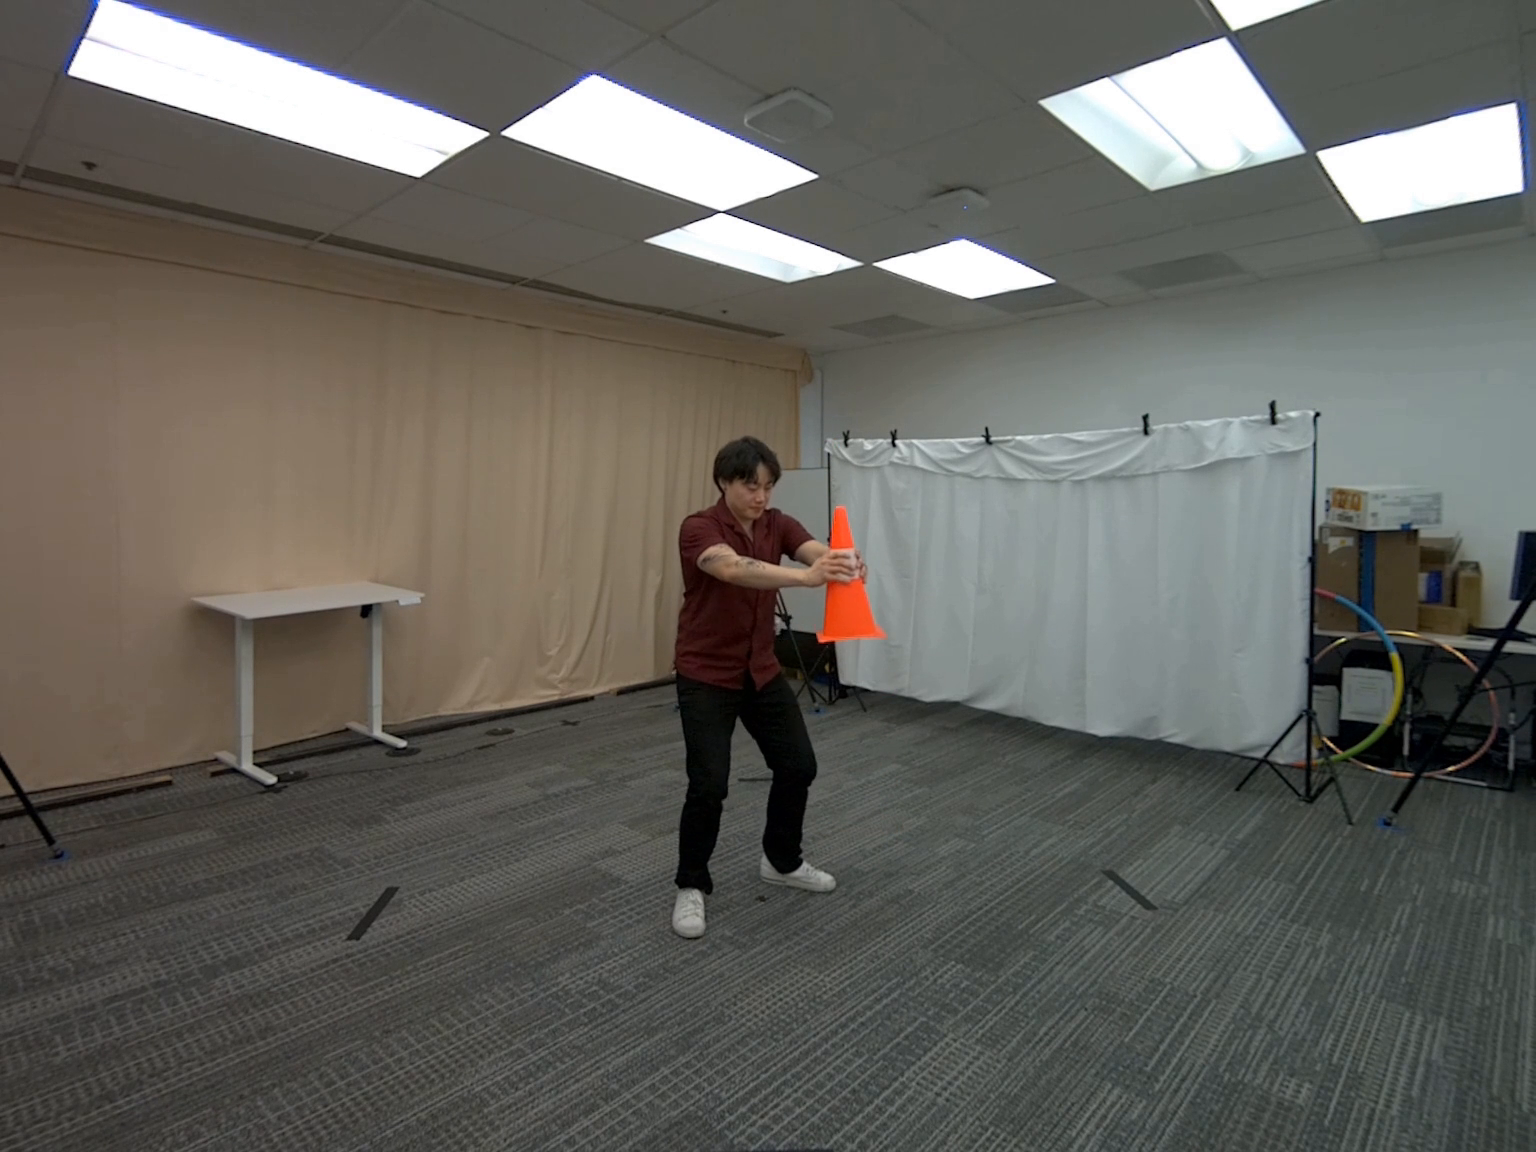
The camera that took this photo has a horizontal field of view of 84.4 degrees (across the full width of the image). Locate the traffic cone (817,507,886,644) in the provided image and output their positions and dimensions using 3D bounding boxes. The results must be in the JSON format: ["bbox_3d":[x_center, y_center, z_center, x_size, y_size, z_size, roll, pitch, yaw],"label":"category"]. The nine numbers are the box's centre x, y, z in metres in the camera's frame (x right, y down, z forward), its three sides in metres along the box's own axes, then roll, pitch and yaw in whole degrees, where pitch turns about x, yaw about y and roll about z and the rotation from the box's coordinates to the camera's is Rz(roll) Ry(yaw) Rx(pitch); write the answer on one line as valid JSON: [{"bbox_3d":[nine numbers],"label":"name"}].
[{"bbox_3d":[0.233,-0.003,2.509,0.202,0.383,0.206,-6,2,-15],"label":"traffic cone"}]
